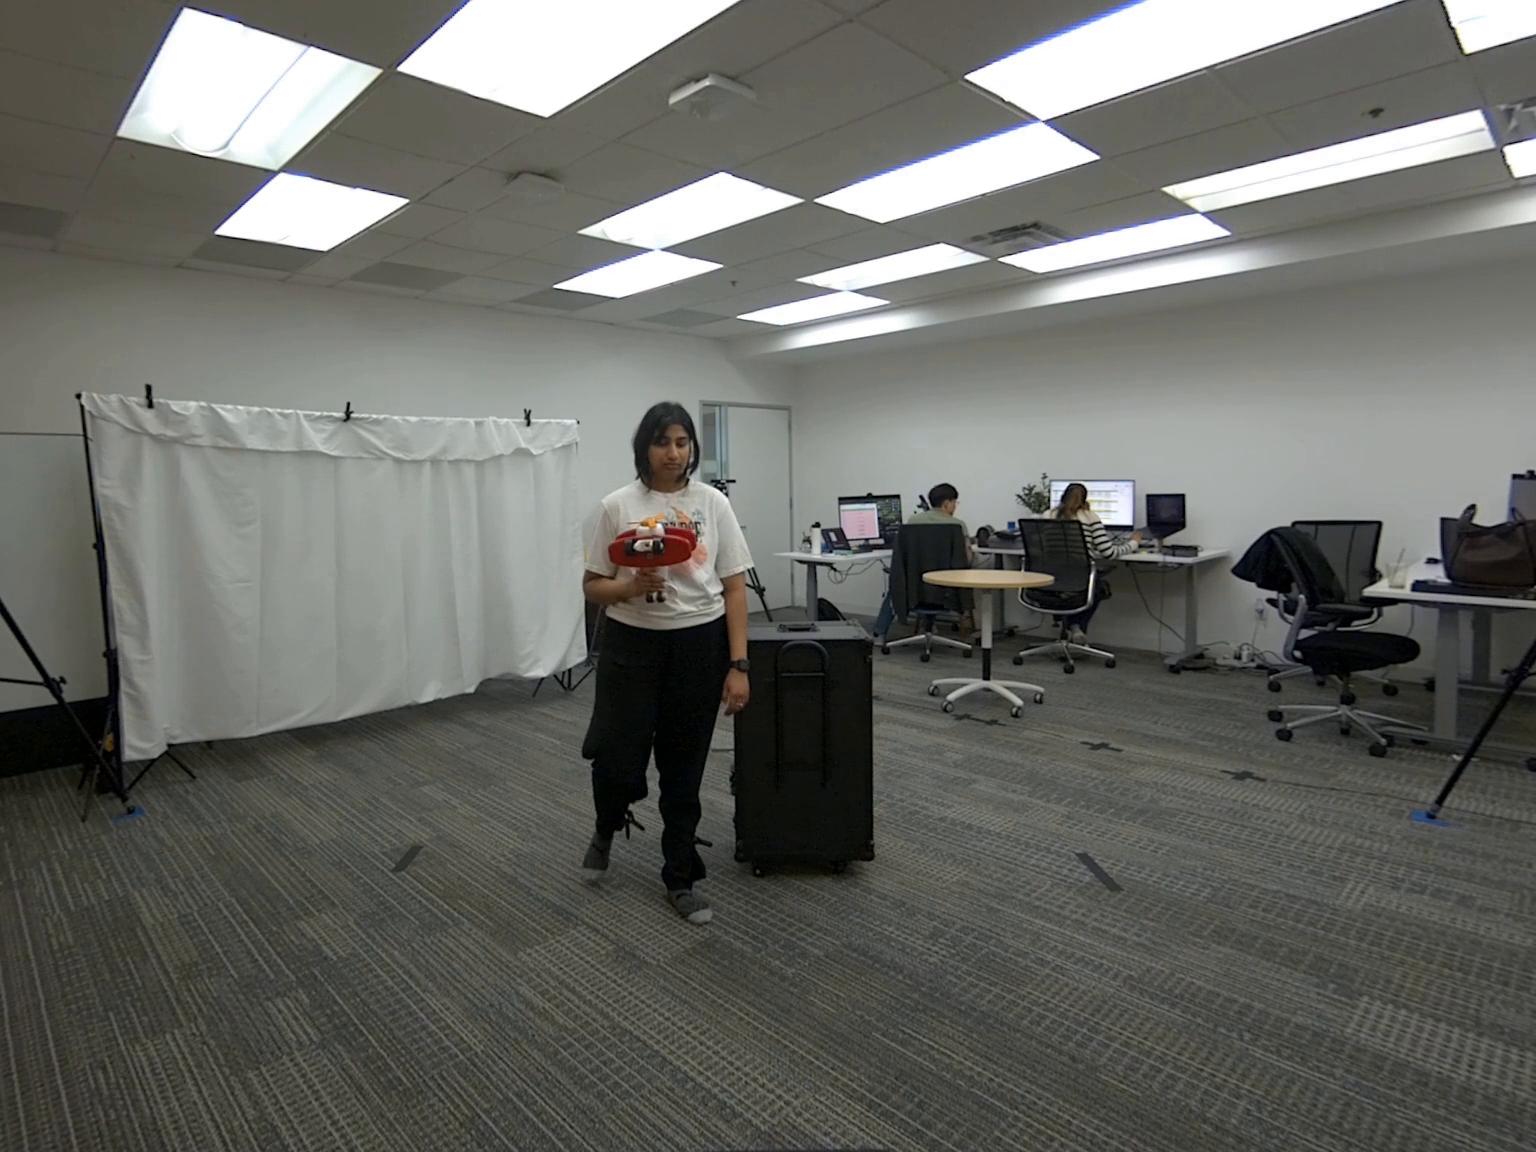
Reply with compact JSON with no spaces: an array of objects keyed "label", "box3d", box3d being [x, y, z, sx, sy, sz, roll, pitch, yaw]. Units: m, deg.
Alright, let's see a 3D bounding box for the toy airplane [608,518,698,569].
[{"label":"toy airplane","box3d":[-0.373,-0.049,2.585,0.249,0.256,0.159,19,34,-6]}]
